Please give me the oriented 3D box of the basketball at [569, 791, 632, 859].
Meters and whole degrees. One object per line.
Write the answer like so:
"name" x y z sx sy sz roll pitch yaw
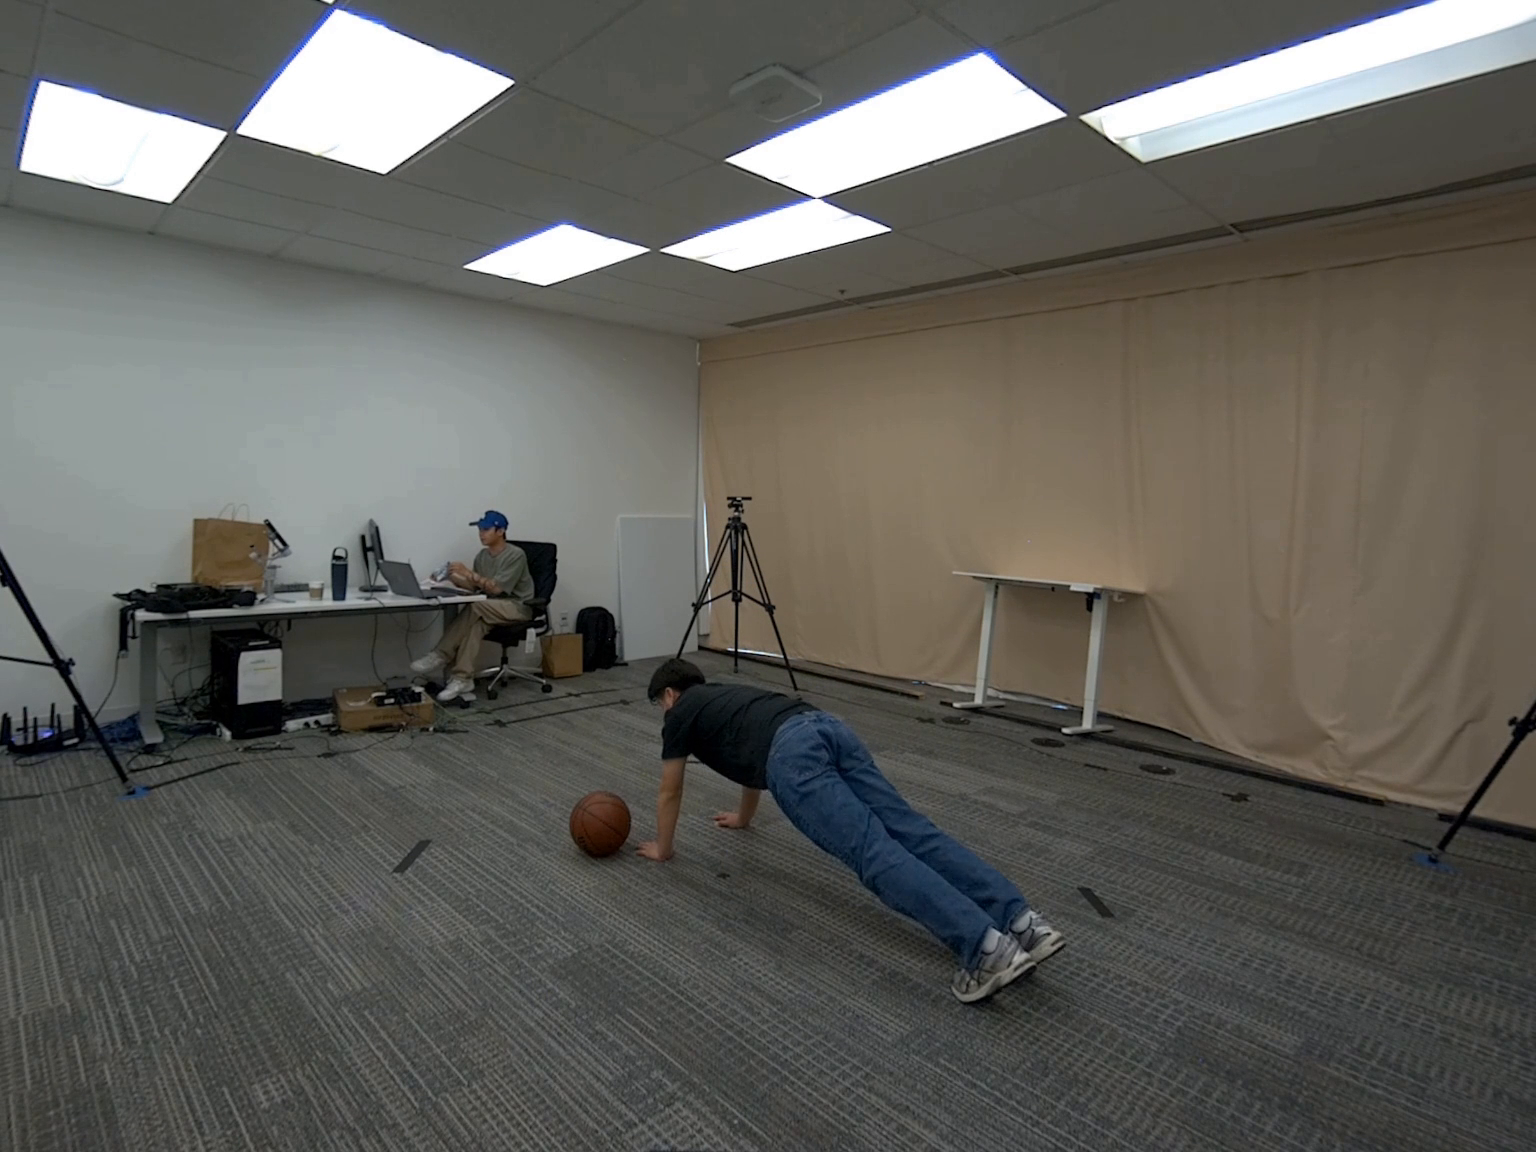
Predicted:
"basketball" -0.654 0.953 3.276 0.236 0.235 0.237 1 4 -1
